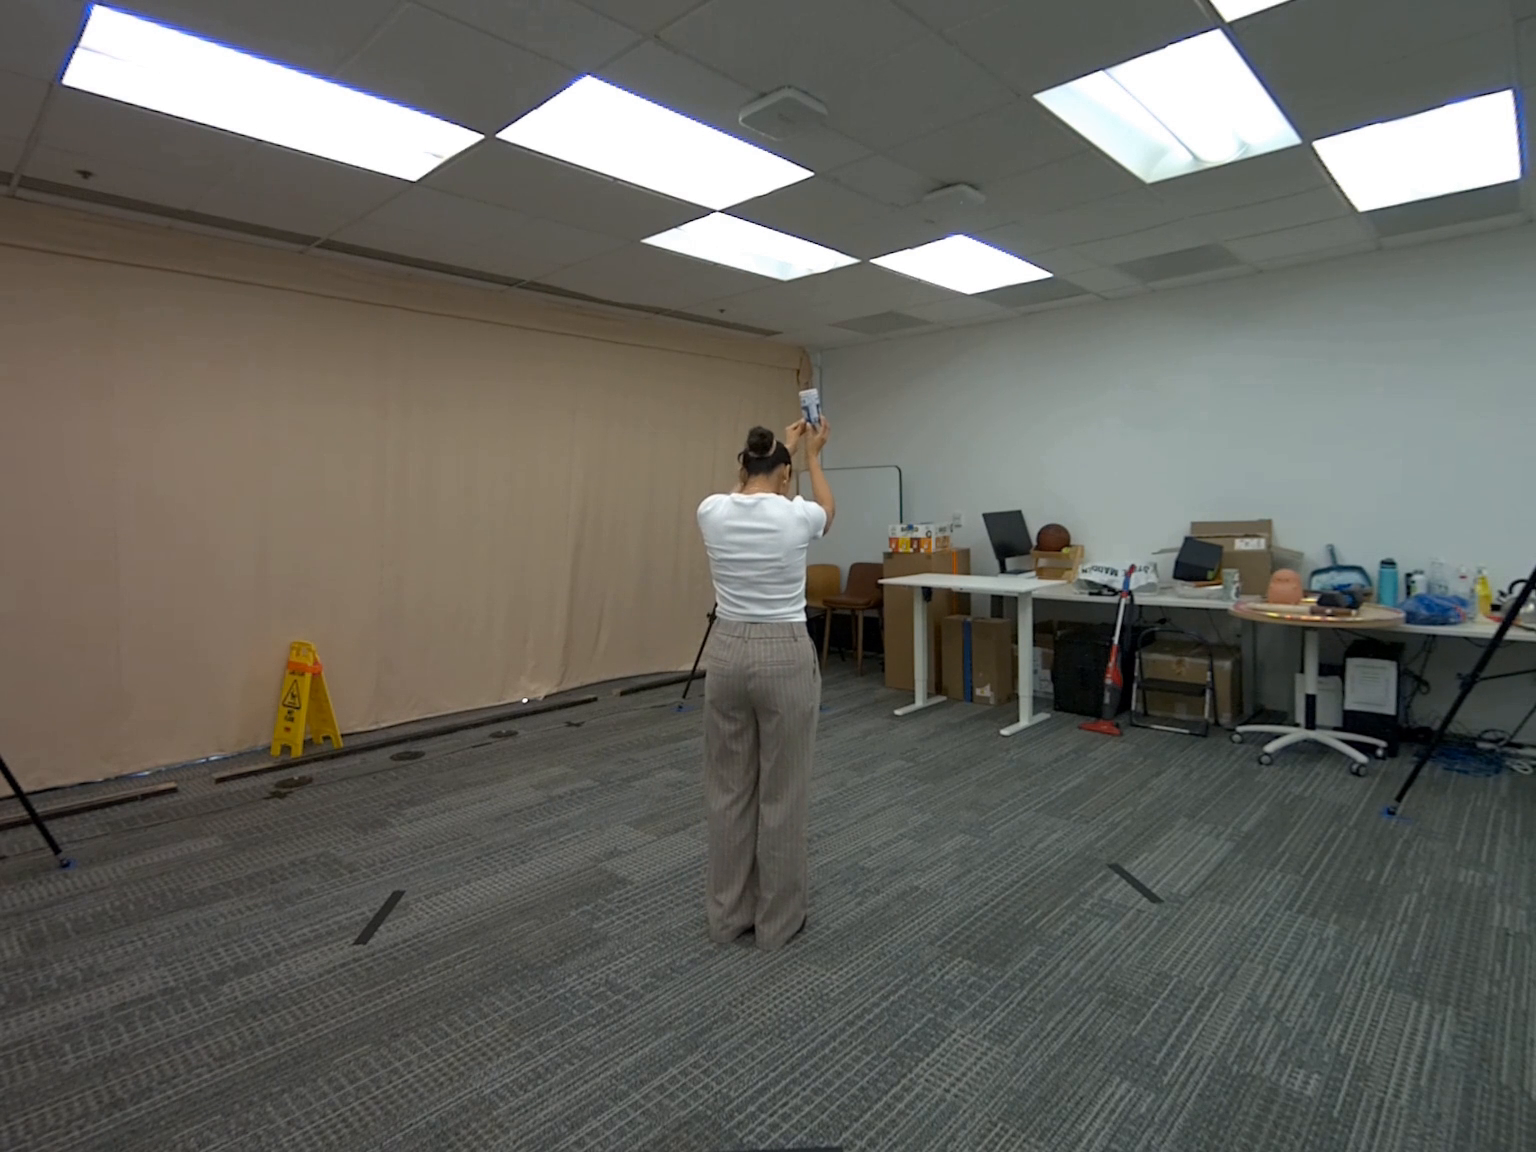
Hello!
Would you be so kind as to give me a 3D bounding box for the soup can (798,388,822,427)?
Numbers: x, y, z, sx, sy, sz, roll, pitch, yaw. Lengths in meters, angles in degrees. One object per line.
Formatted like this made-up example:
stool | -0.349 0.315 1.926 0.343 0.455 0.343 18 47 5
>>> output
soup can | 0.158 -0.605 3.000 0.067 0.121 0.067 -9 8 0
